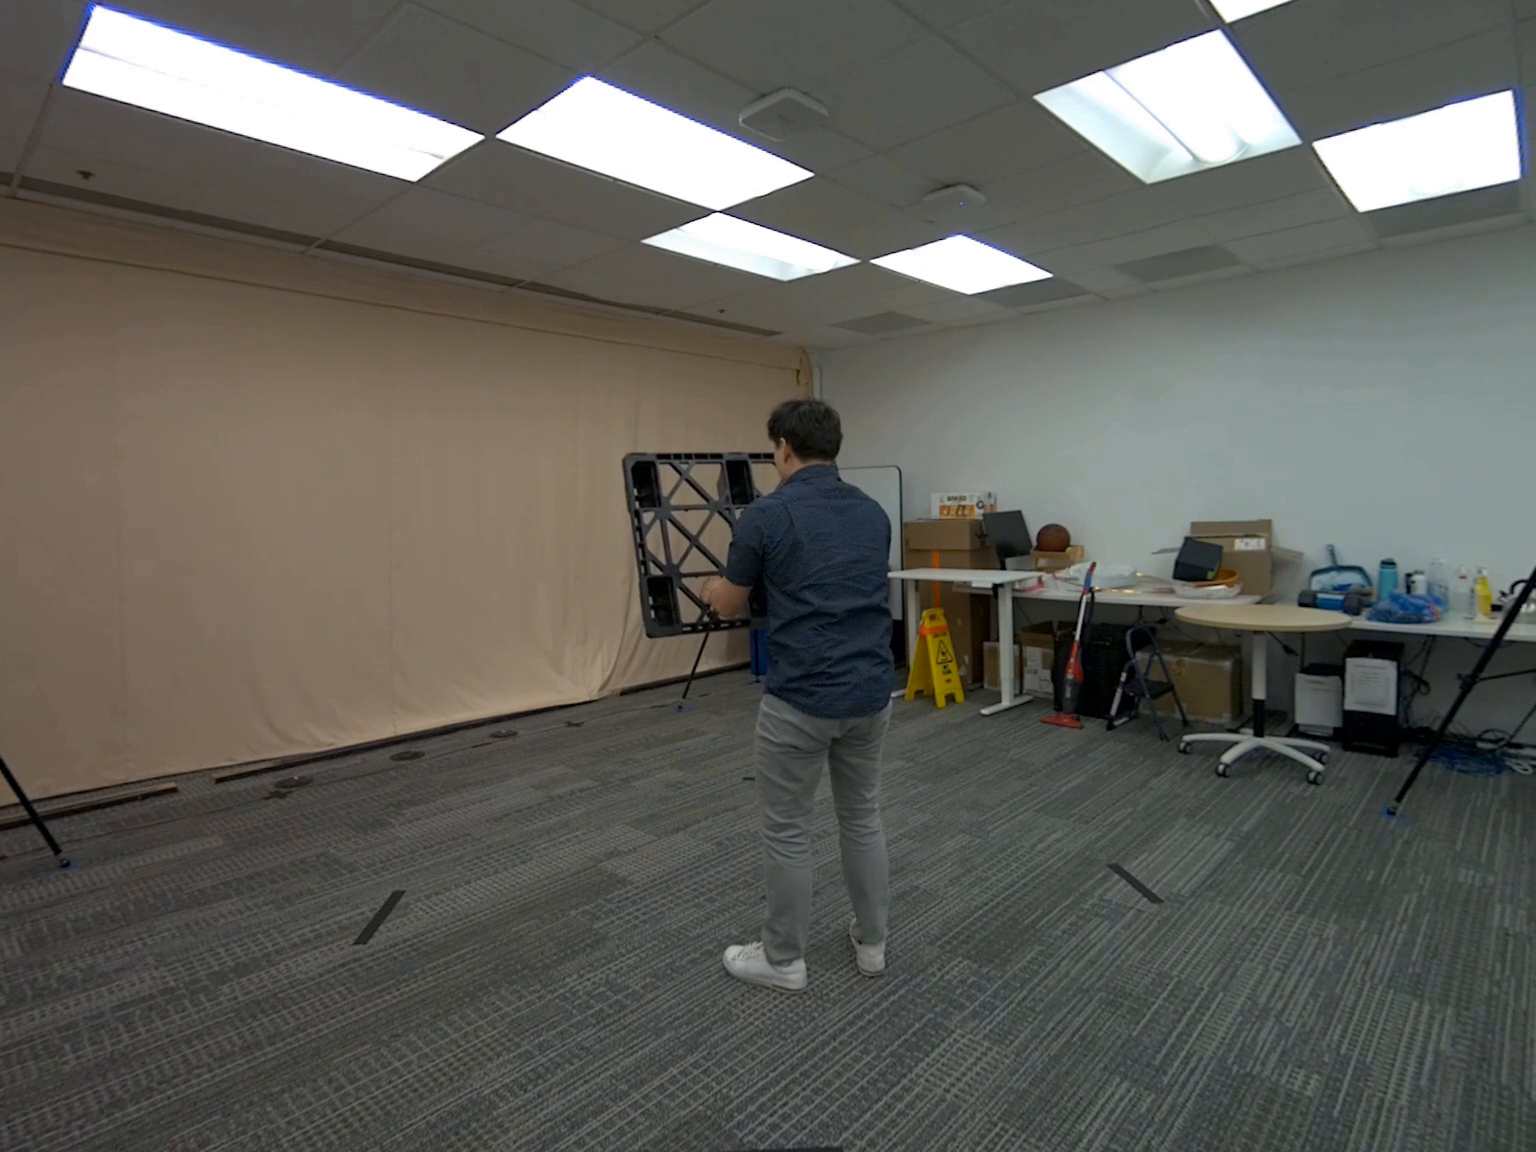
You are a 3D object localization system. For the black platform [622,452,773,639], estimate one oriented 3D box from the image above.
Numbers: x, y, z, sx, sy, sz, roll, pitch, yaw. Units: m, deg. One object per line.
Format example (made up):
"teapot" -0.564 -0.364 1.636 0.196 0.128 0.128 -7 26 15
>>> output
"black platform" -0.089 -0.115 2.846 0.786 0.611 0.145 -4 -14 -25
